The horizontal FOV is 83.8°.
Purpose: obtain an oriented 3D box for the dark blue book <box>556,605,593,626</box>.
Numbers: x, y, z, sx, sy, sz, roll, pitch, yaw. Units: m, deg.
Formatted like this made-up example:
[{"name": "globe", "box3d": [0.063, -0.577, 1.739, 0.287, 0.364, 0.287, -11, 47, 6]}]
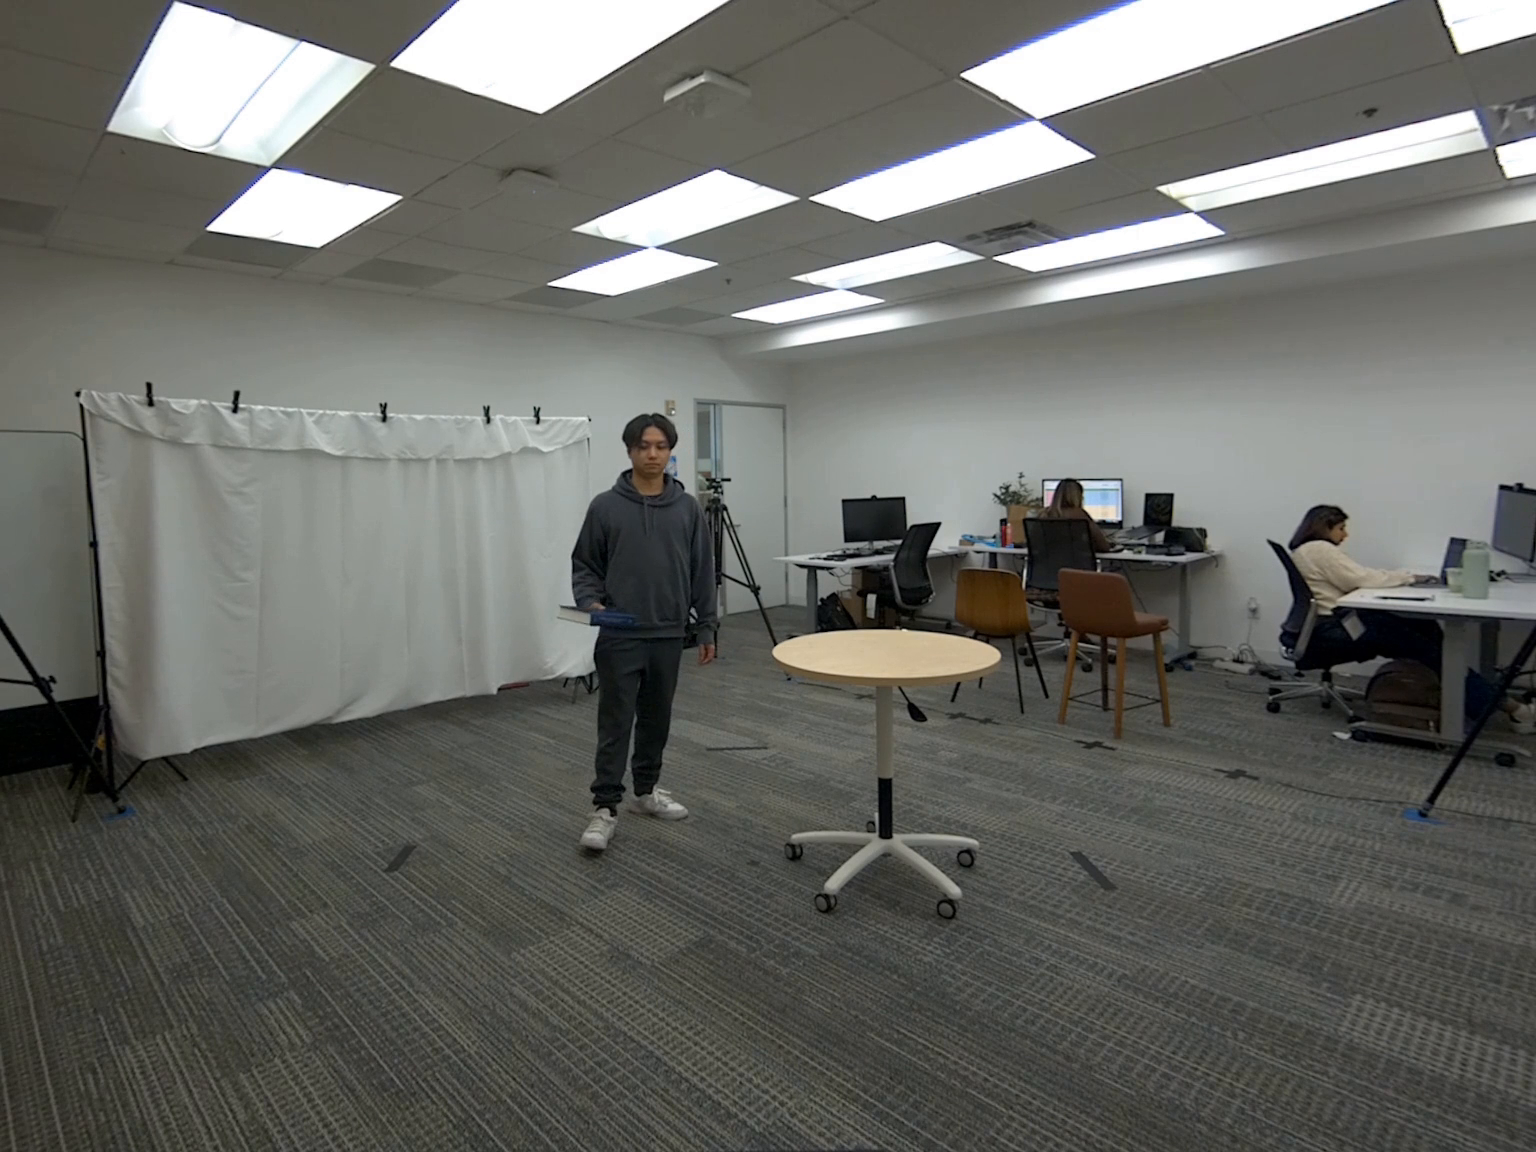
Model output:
[{"name": "dark blue book", "box3d": [-0.628, 0.154, 3.082, 0.168, 0.045, 0.238, 8, 1, 31]}]
